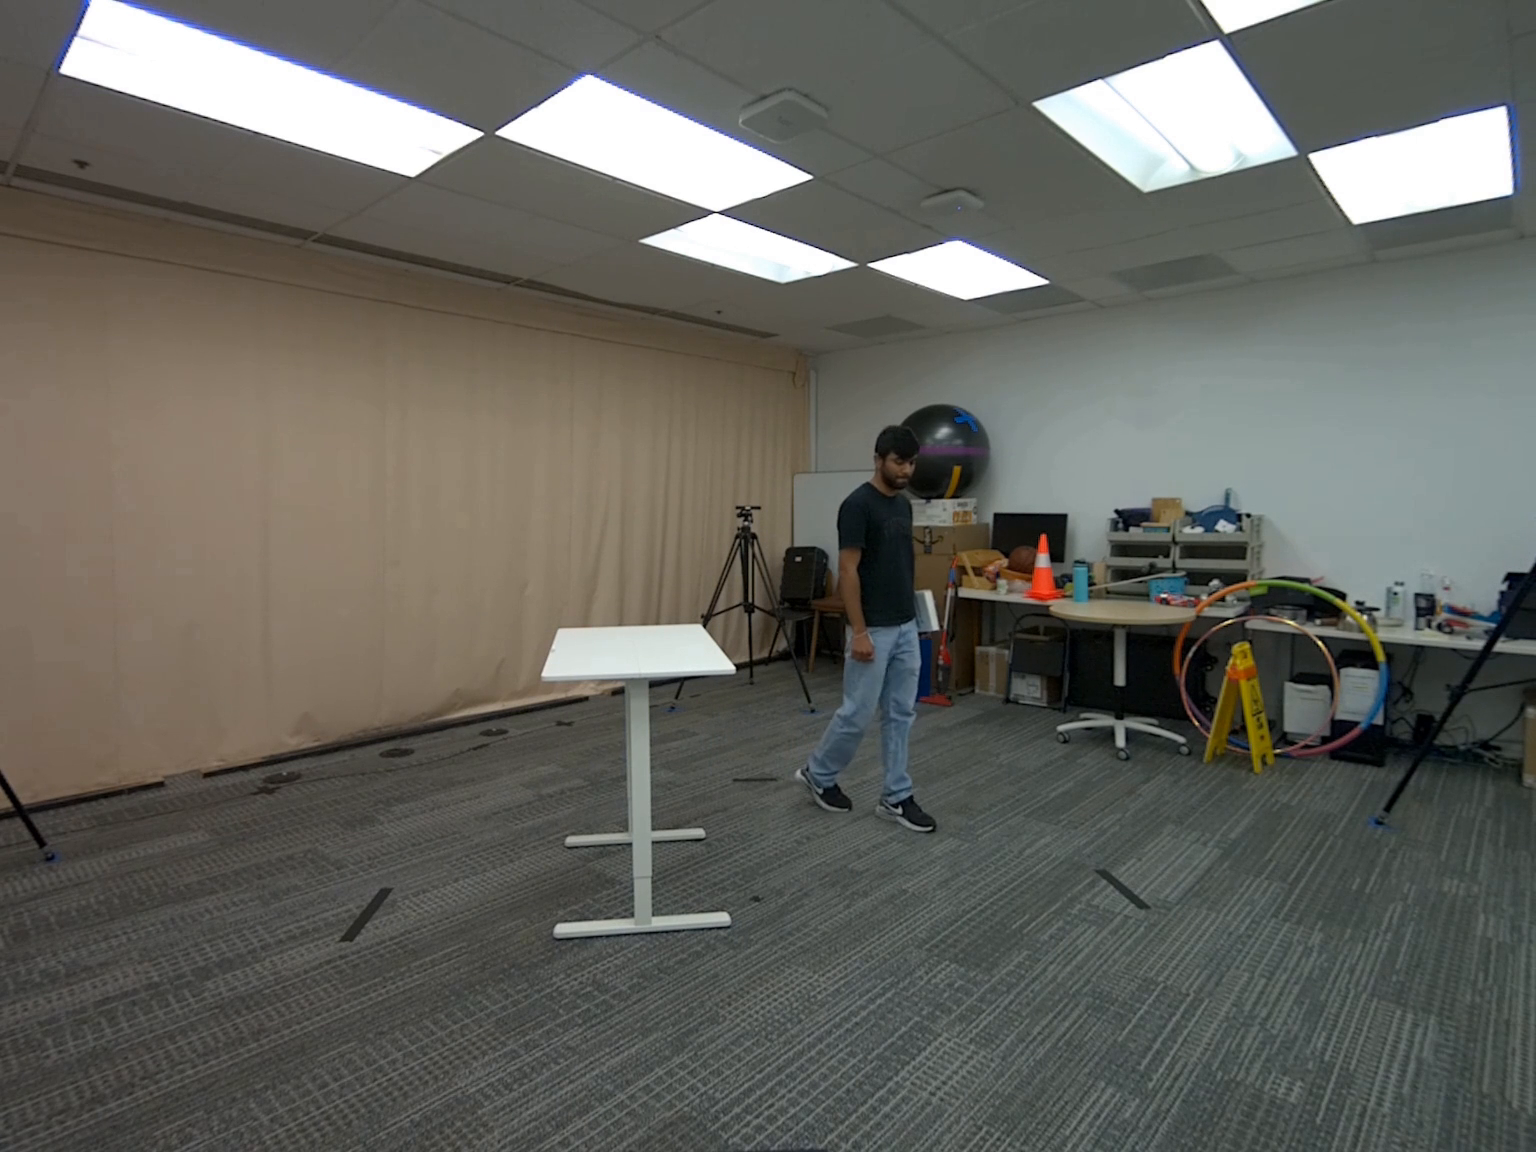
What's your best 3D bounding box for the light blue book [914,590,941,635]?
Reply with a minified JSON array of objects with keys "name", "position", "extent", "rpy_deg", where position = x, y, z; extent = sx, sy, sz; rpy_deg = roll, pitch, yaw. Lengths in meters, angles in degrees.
[{"name":"light blue book","position":[0.637,0.168,3.844],"extent":[0.268,0.191,0.057],"rpy_deg":[-9,2,44]}]
